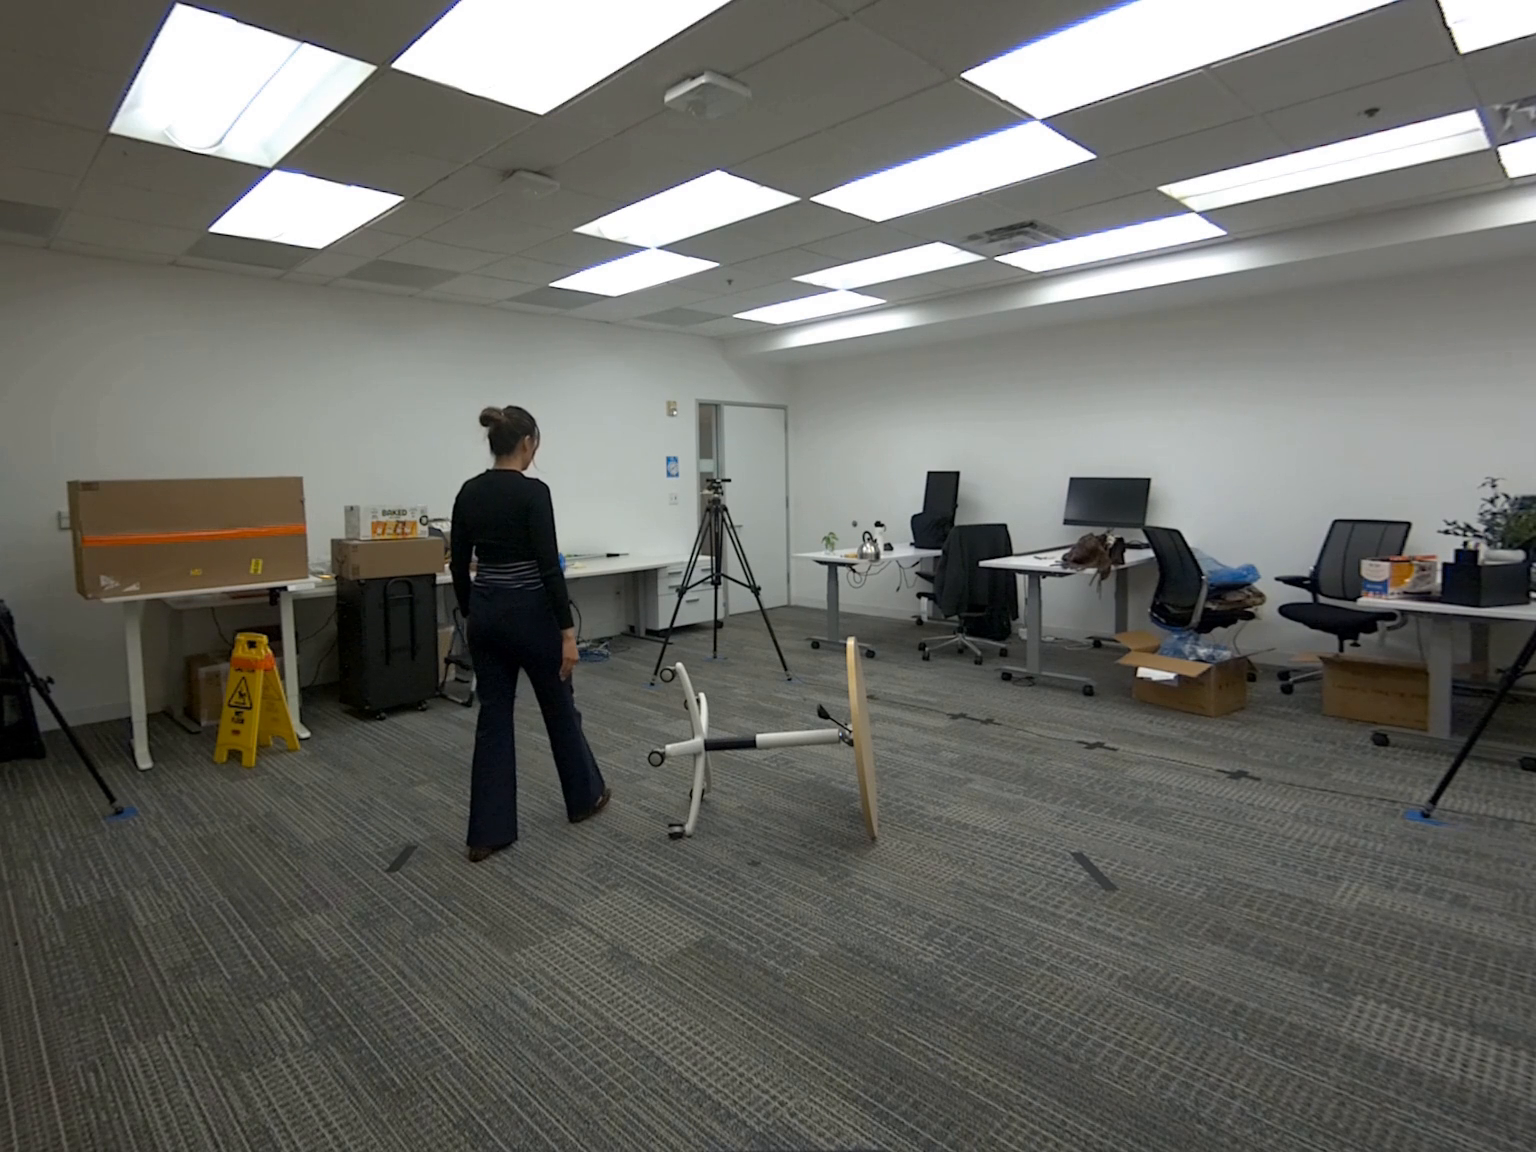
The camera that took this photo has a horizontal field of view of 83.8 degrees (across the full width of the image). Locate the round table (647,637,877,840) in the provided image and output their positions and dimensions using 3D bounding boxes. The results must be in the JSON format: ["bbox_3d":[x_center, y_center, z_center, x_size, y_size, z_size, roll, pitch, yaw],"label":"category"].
[{"bbox_3d":[-0.008,0.659,3.444,0.801,0.762,0.760,-7,4,10],"label":"round table"}]
